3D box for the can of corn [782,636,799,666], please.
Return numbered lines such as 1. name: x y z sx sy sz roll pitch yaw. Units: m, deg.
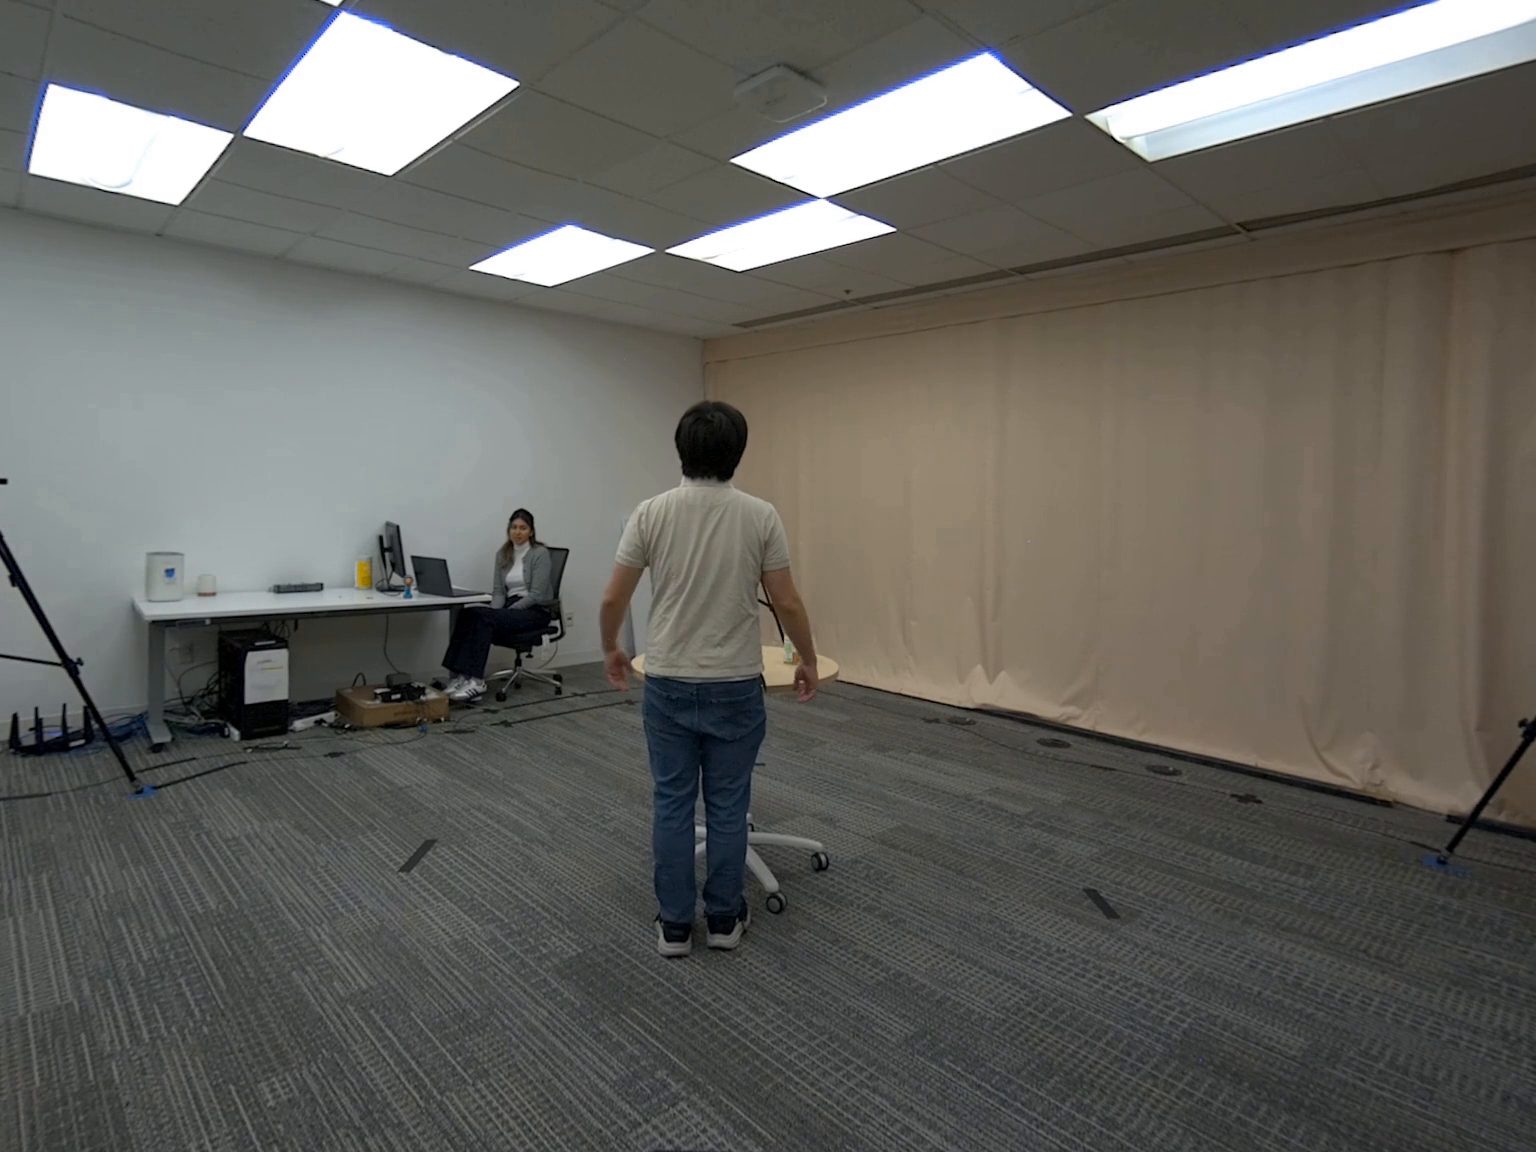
1. can of corn: 0.091 0.272 3.128 0.074 0.110 0.074 2 6 -2
